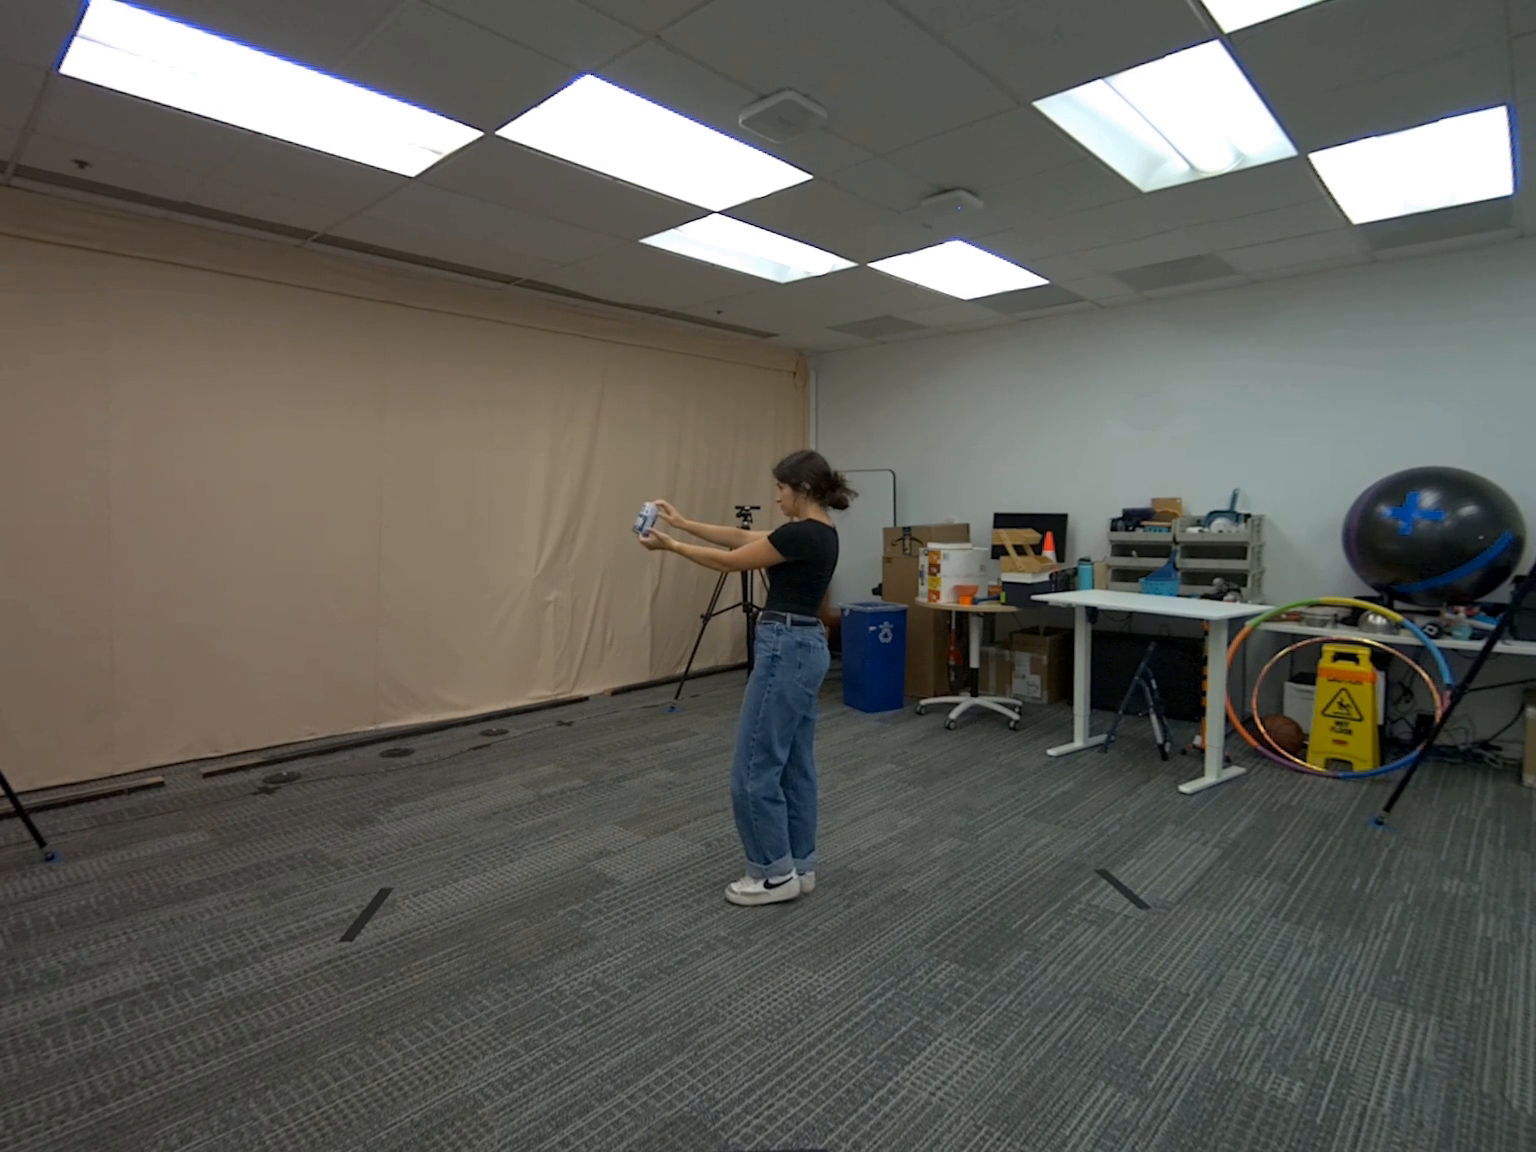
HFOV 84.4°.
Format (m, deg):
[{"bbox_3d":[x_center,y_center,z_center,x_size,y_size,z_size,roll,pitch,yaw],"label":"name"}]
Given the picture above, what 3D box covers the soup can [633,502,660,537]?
[{"bbox_3d":[-0.449,-0.211,3.142,0.067,0.121,0.067,21,-5,0],"label":"soup can"}]
